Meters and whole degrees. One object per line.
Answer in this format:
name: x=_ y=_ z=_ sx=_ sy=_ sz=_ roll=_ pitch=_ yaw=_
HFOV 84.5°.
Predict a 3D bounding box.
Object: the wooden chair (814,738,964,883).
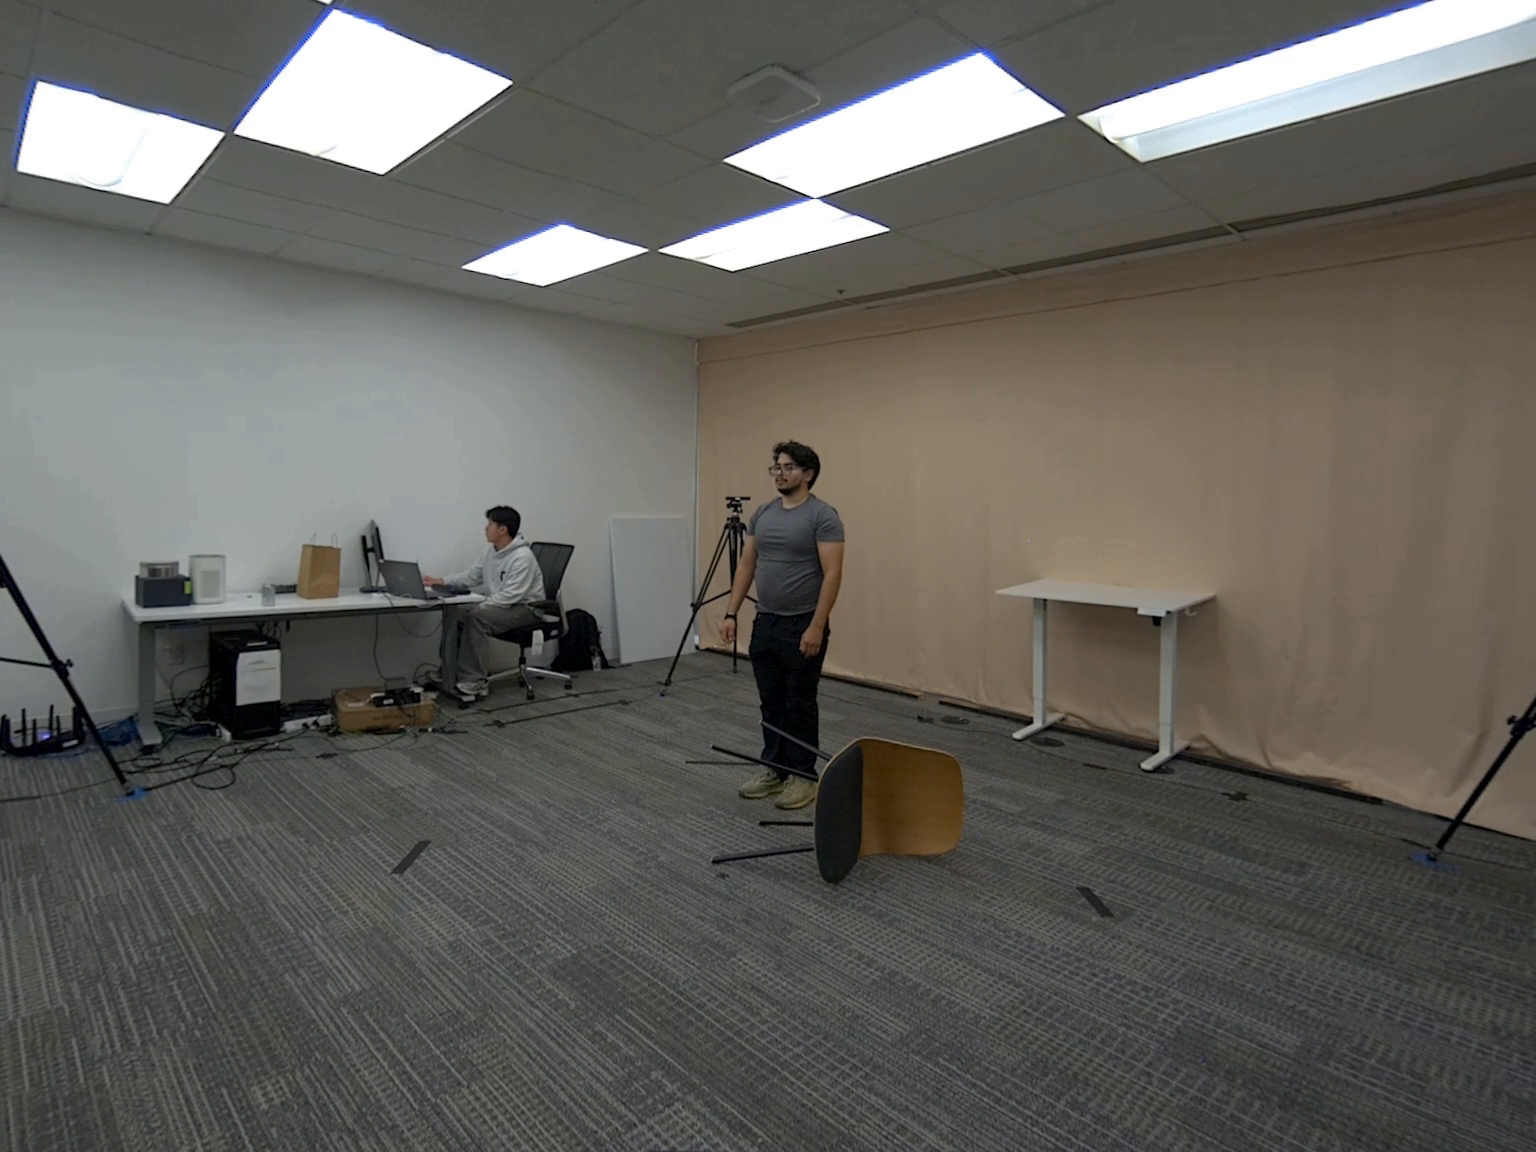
wooden chair: x=0.259 y=0.871 z=3.207 sx=0.892 sy=0.477 sz=0.515 roll=3 pitch=3 yaw=21
